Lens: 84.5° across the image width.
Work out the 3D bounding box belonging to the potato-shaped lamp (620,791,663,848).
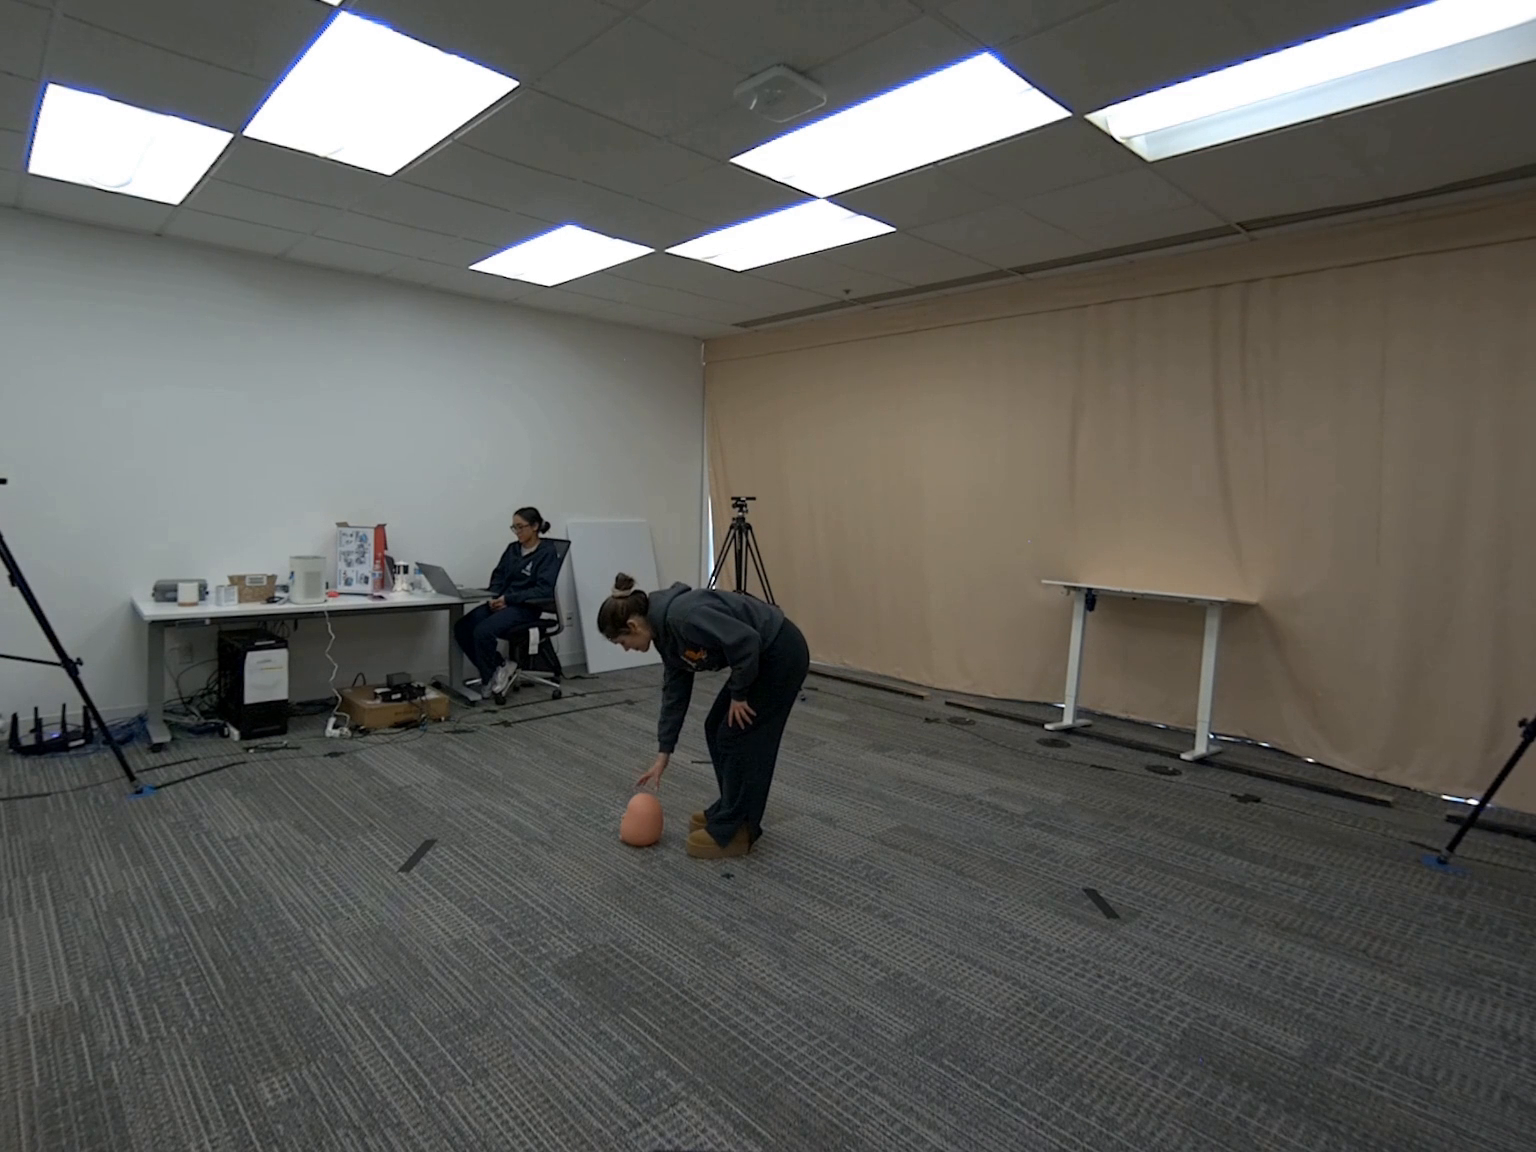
[{"bbox_3d":[-0.509,0.964,3.402,0.176,0.197,0.161,5,5,38],"label":"potato-shaped lamp"}]
